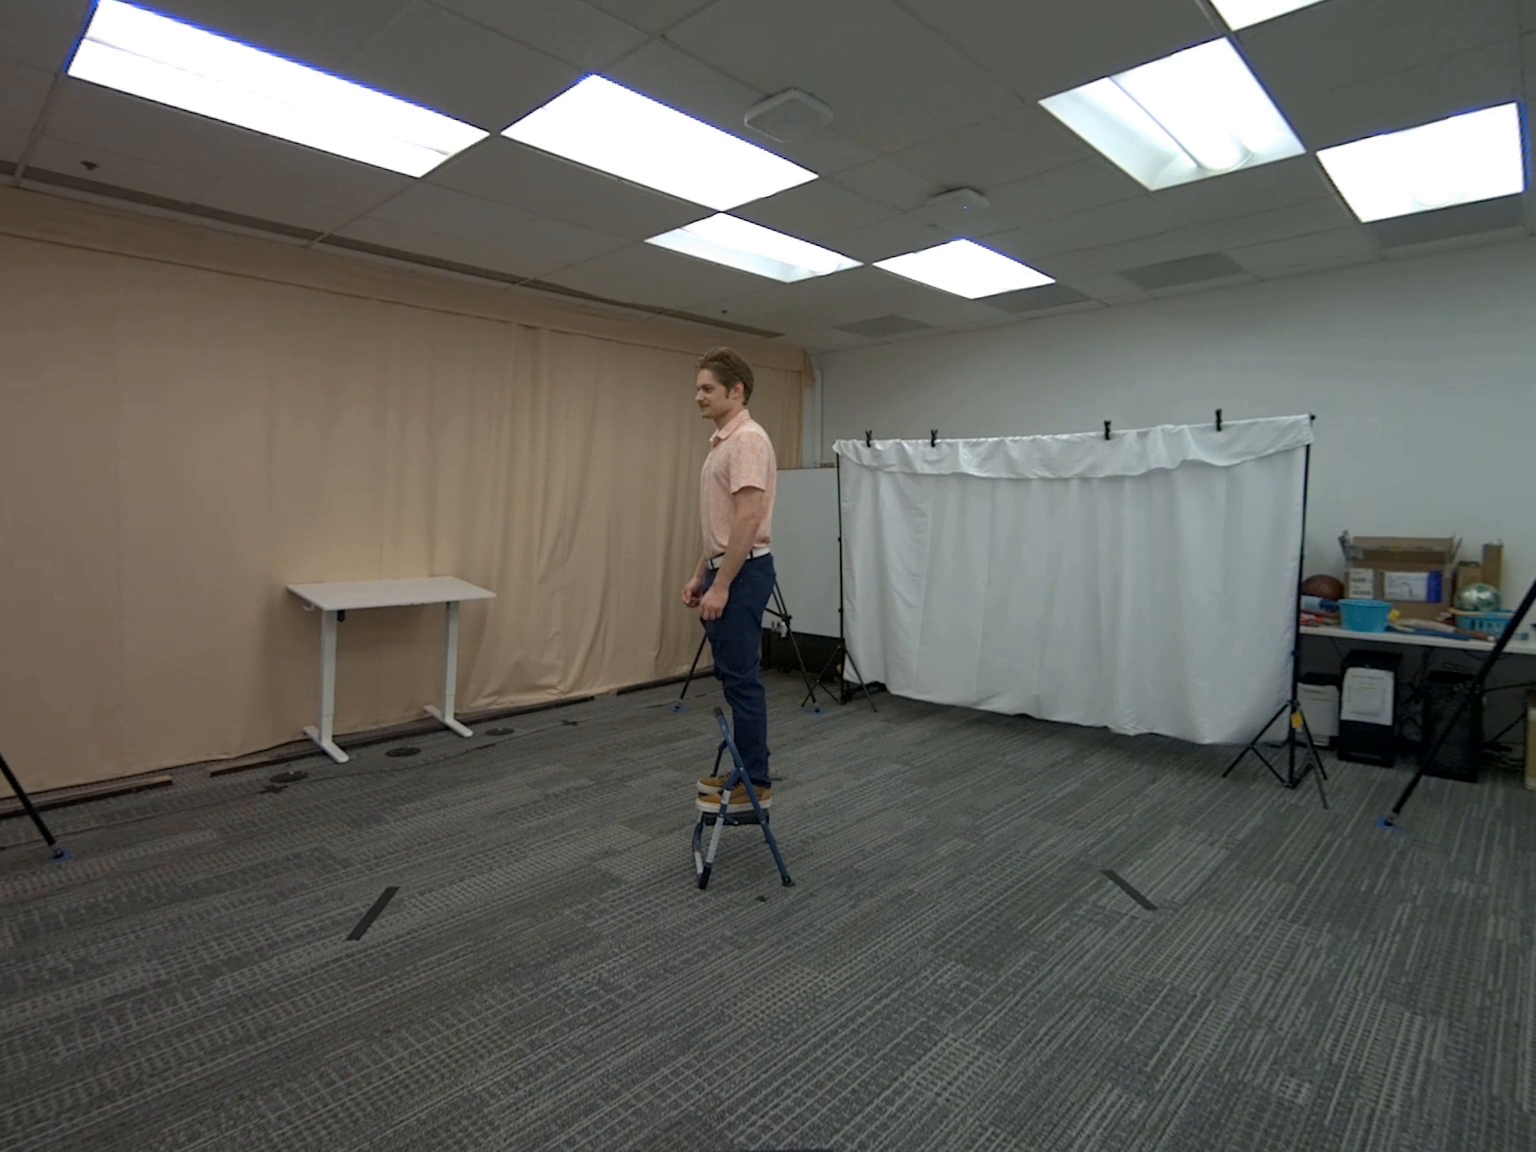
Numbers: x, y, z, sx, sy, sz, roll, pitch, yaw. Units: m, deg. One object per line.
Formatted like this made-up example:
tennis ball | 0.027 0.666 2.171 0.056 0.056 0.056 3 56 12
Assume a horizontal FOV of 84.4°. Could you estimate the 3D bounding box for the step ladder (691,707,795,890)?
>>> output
step ladder | -0.113 0.823 3.259 0.346 0.605 0.435 0 3 -9
